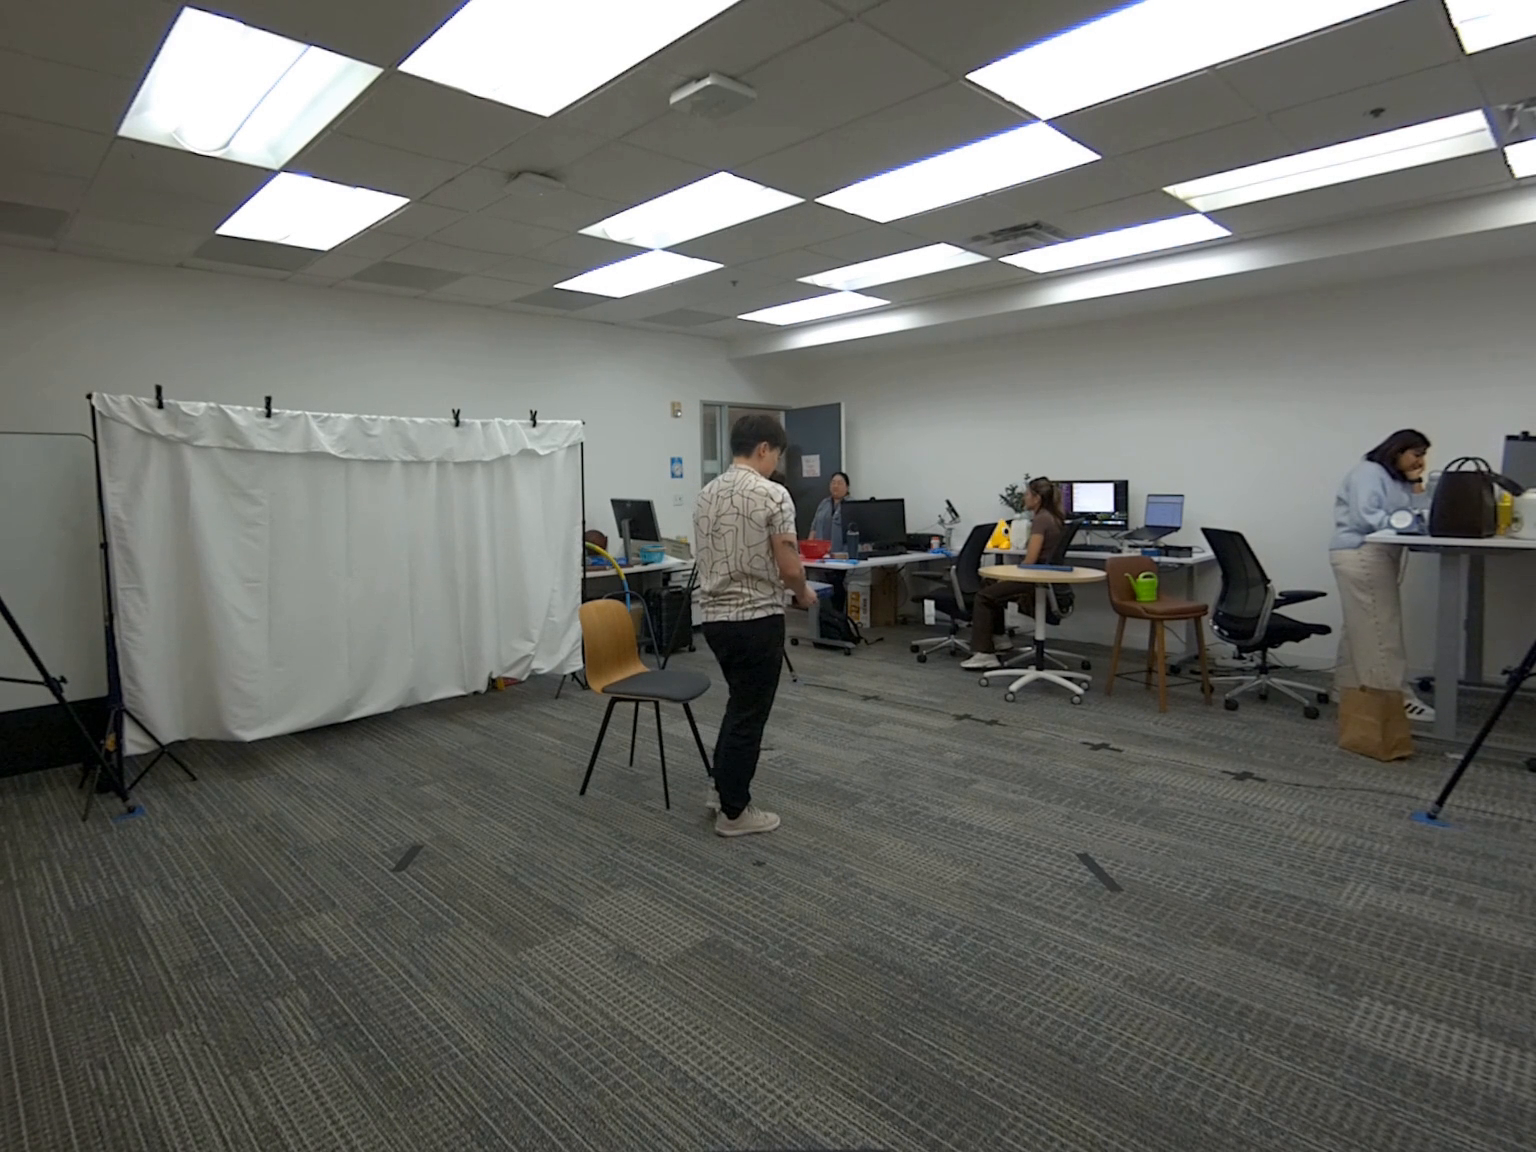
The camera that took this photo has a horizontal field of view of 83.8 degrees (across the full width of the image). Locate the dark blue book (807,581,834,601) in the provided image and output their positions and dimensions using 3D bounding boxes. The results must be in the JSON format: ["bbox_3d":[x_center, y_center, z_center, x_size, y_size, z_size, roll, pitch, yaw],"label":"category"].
[{"bbox_3d":[0.132,0.071,3.572,0.240,0.045,0.169,-13,15,-36],"label":"dark blue book"}]
